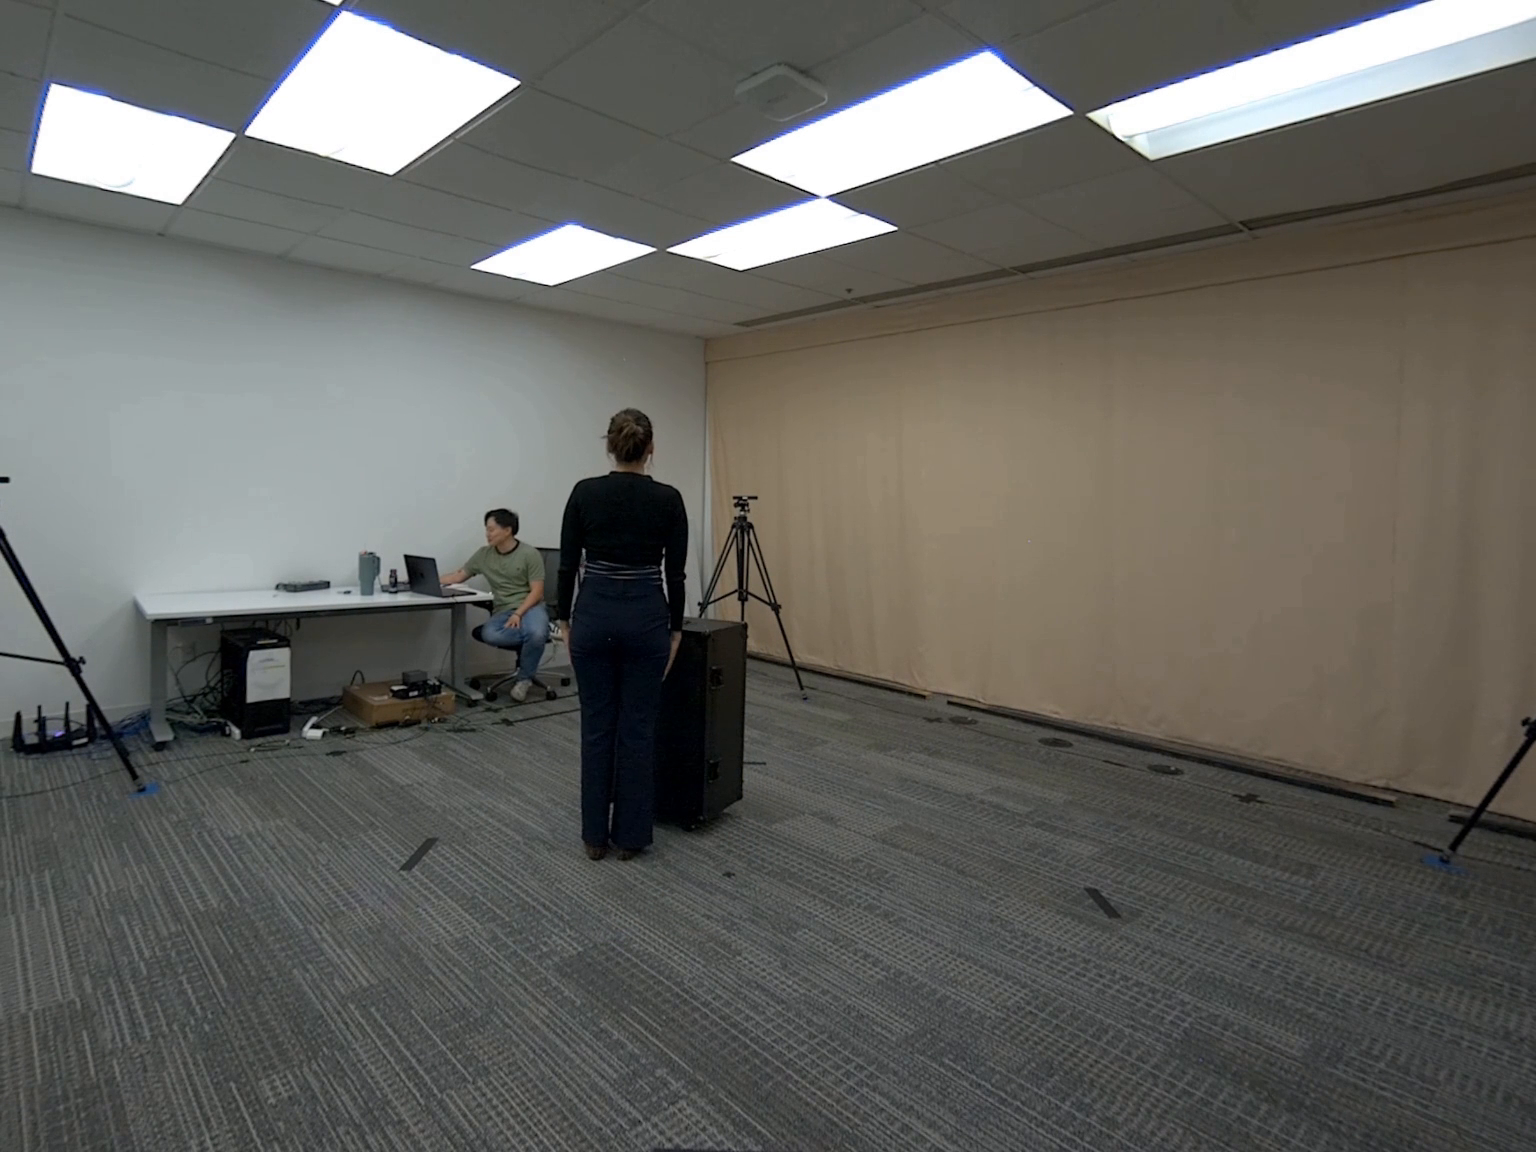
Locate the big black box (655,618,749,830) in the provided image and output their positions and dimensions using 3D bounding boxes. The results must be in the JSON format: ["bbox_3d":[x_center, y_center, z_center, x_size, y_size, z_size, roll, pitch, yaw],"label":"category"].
[{"bbox_3d":[-0.396,0.621,3.670,0.532,0.860,0.389,3,2,27],"label":"big black box"}]
